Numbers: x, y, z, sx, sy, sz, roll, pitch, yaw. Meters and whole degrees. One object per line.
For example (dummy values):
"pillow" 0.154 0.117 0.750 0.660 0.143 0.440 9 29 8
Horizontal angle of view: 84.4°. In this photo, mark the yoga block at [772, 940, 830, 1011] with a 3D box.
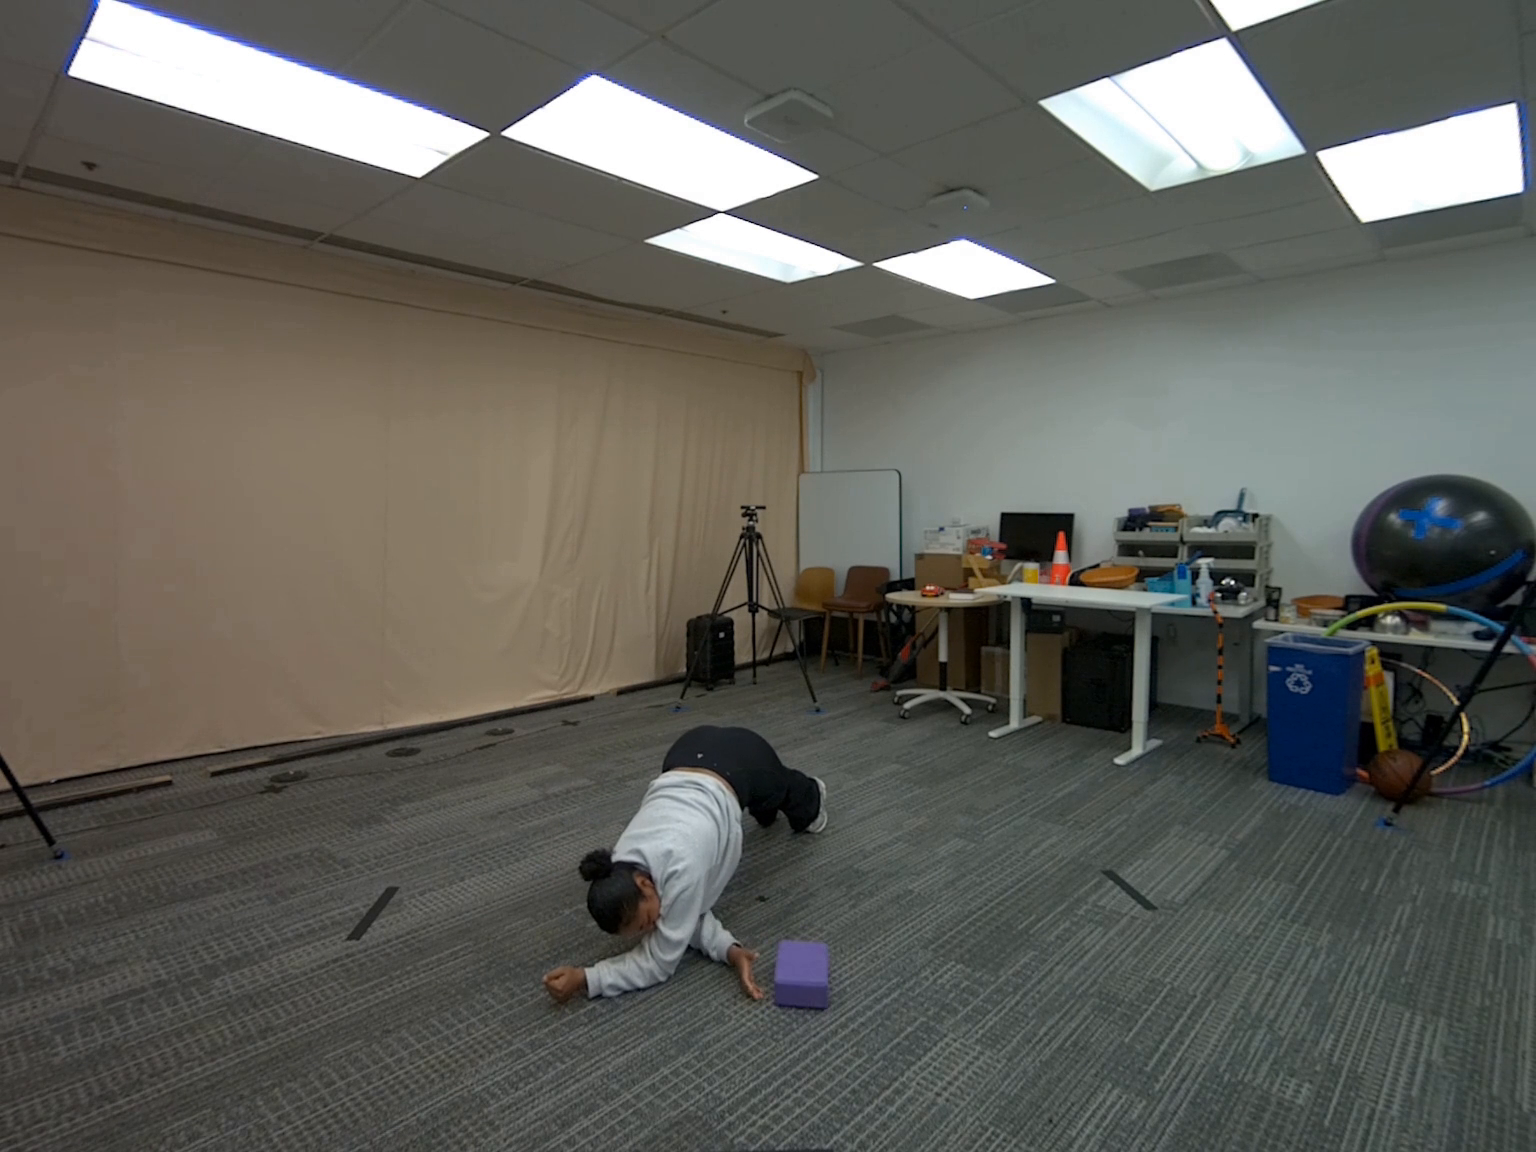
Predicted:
"yoga block" 0.092 1.139 2.436 0.150 0.076 0.229 0 6 5
